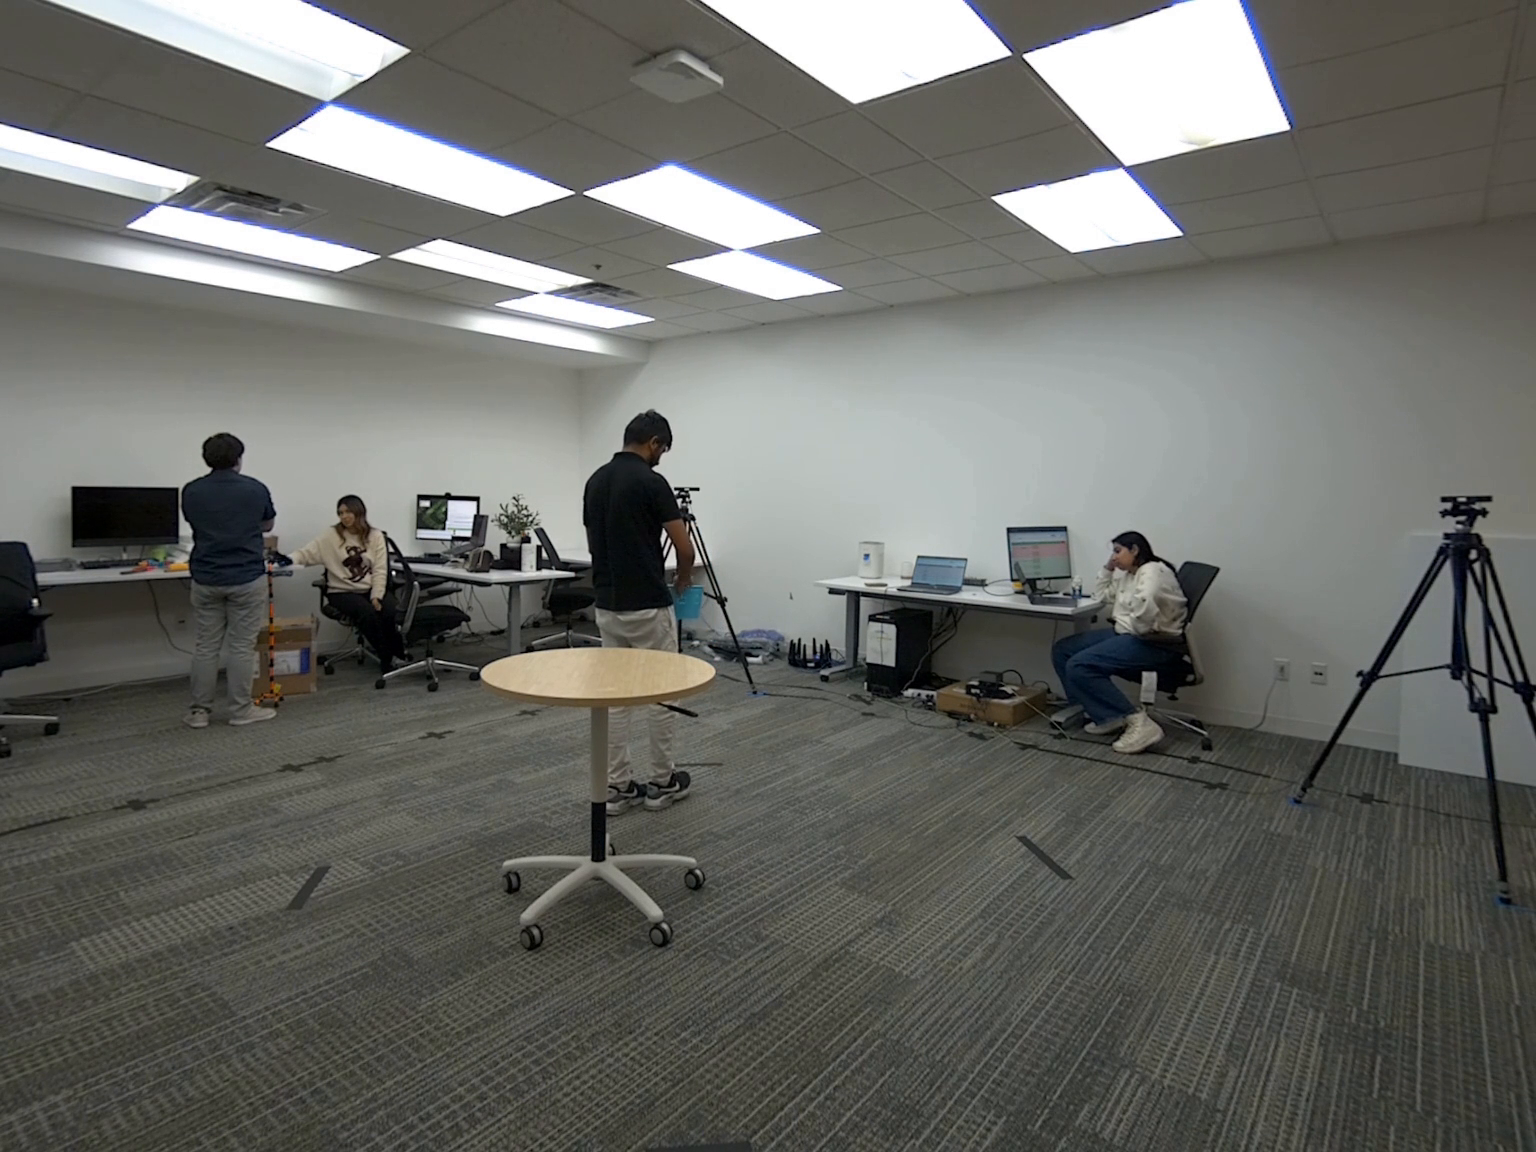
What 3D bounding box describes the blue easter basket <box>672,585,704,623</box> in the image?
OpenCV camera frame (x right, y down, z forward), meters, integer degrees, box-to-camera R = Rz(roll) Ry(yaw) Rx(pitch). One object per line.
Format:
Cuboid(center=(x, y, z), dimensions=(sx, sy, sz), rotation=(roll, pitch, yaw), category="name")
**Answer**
Cuboid(center=(-0.413, 0.114, 3.996), dimensions=(0.243, 0.156, 0.244), rotation=(1, 0, -2), category="blue easter basket")
